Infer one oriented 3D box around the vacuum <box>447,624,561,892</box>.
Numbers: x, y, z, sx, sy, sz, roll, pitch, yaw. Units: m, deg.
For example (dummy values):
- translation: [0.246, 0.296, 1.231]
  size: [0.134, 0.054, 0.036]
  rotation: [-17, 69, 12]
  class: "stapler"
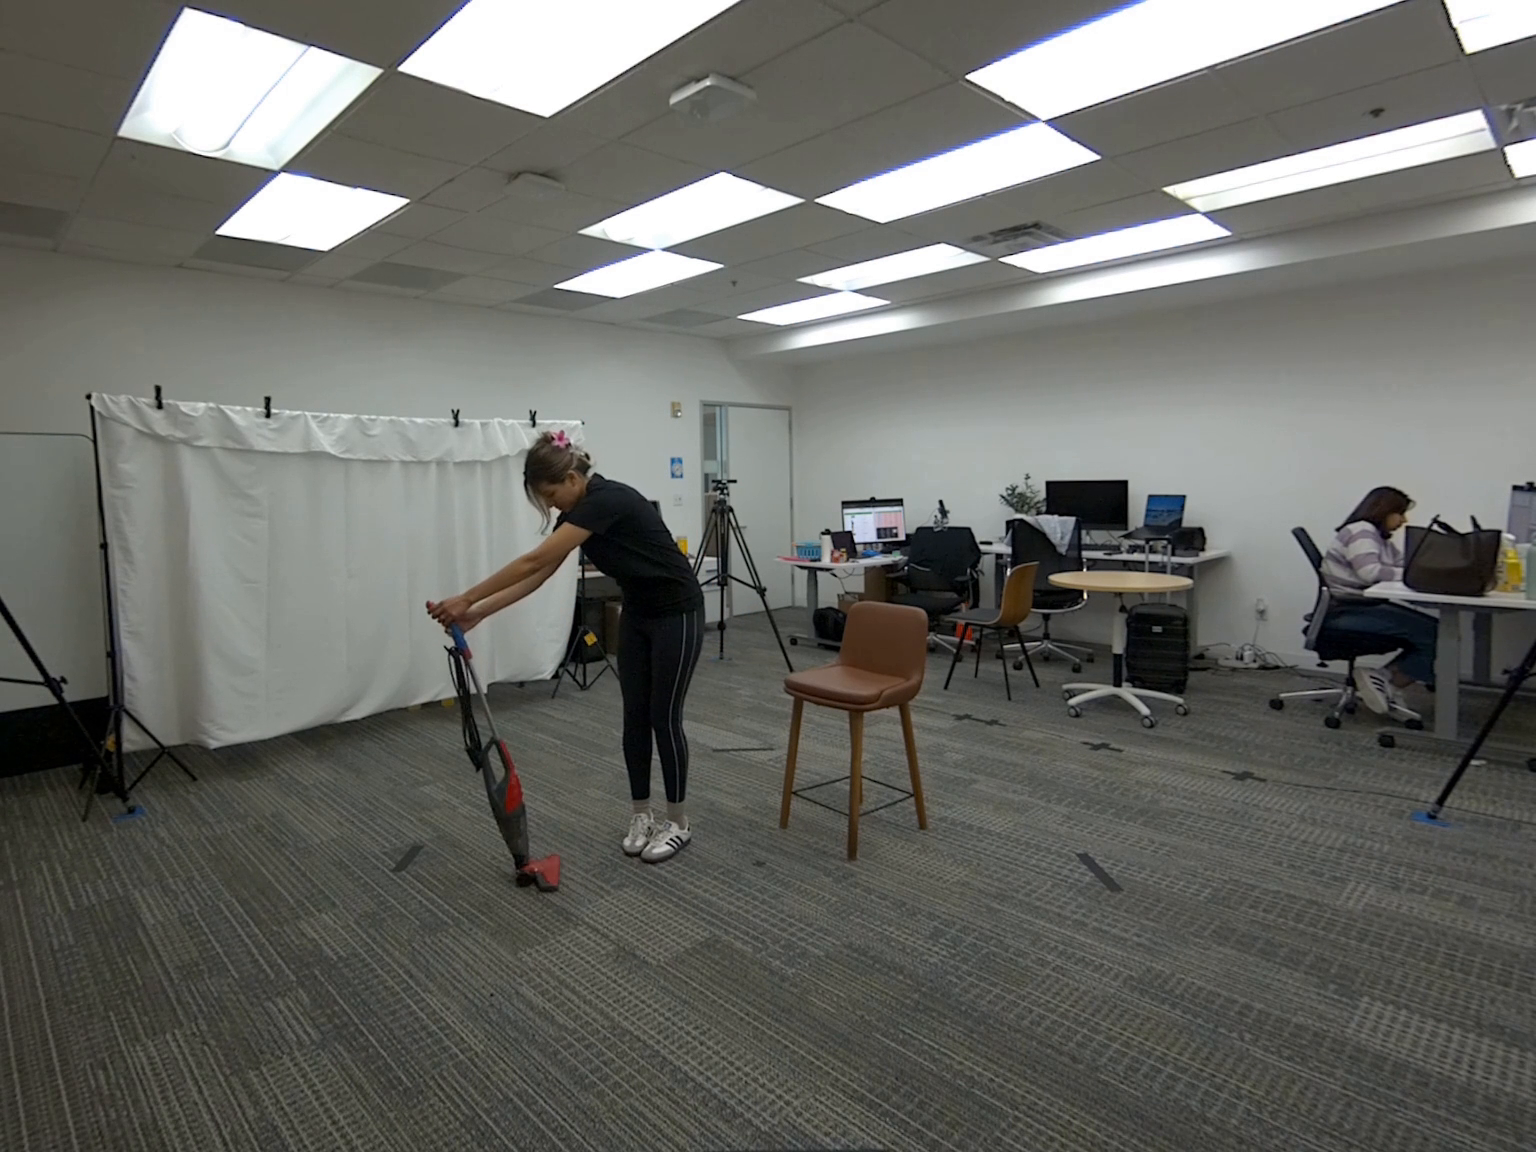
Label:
- translation: [-0.984, 0.586, 2.994]
  size: [0.143, 1.043, 0.256]
  rotation: [-22, 5, -14]
  class: "vacuum"
